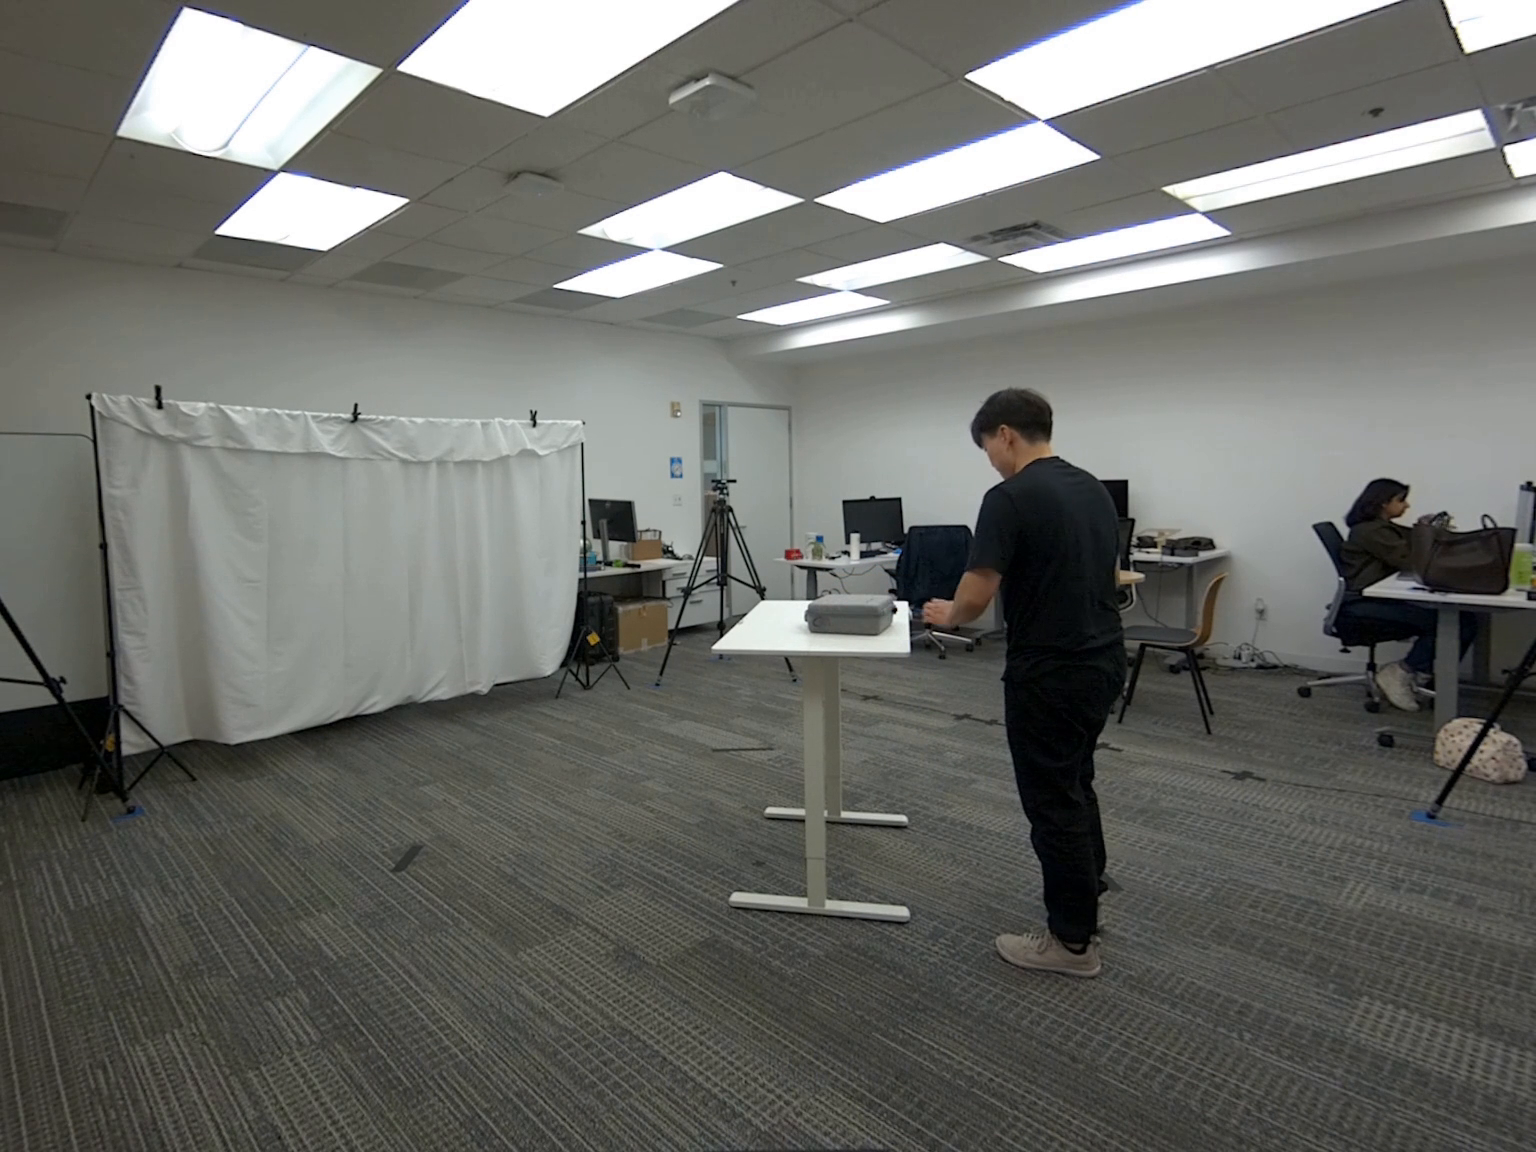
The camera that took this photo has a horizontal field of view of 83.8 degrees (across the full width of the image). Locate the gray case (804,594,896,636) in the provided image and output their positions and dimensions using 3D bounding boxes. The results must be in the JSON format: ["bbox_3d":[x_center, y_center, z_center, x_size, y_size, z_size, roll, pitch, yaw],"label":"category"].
[{"bbox_3d":[0.283,0.126,2.919,0.266,0.104,0.253,0,7,21],"label":"gray case"}]
